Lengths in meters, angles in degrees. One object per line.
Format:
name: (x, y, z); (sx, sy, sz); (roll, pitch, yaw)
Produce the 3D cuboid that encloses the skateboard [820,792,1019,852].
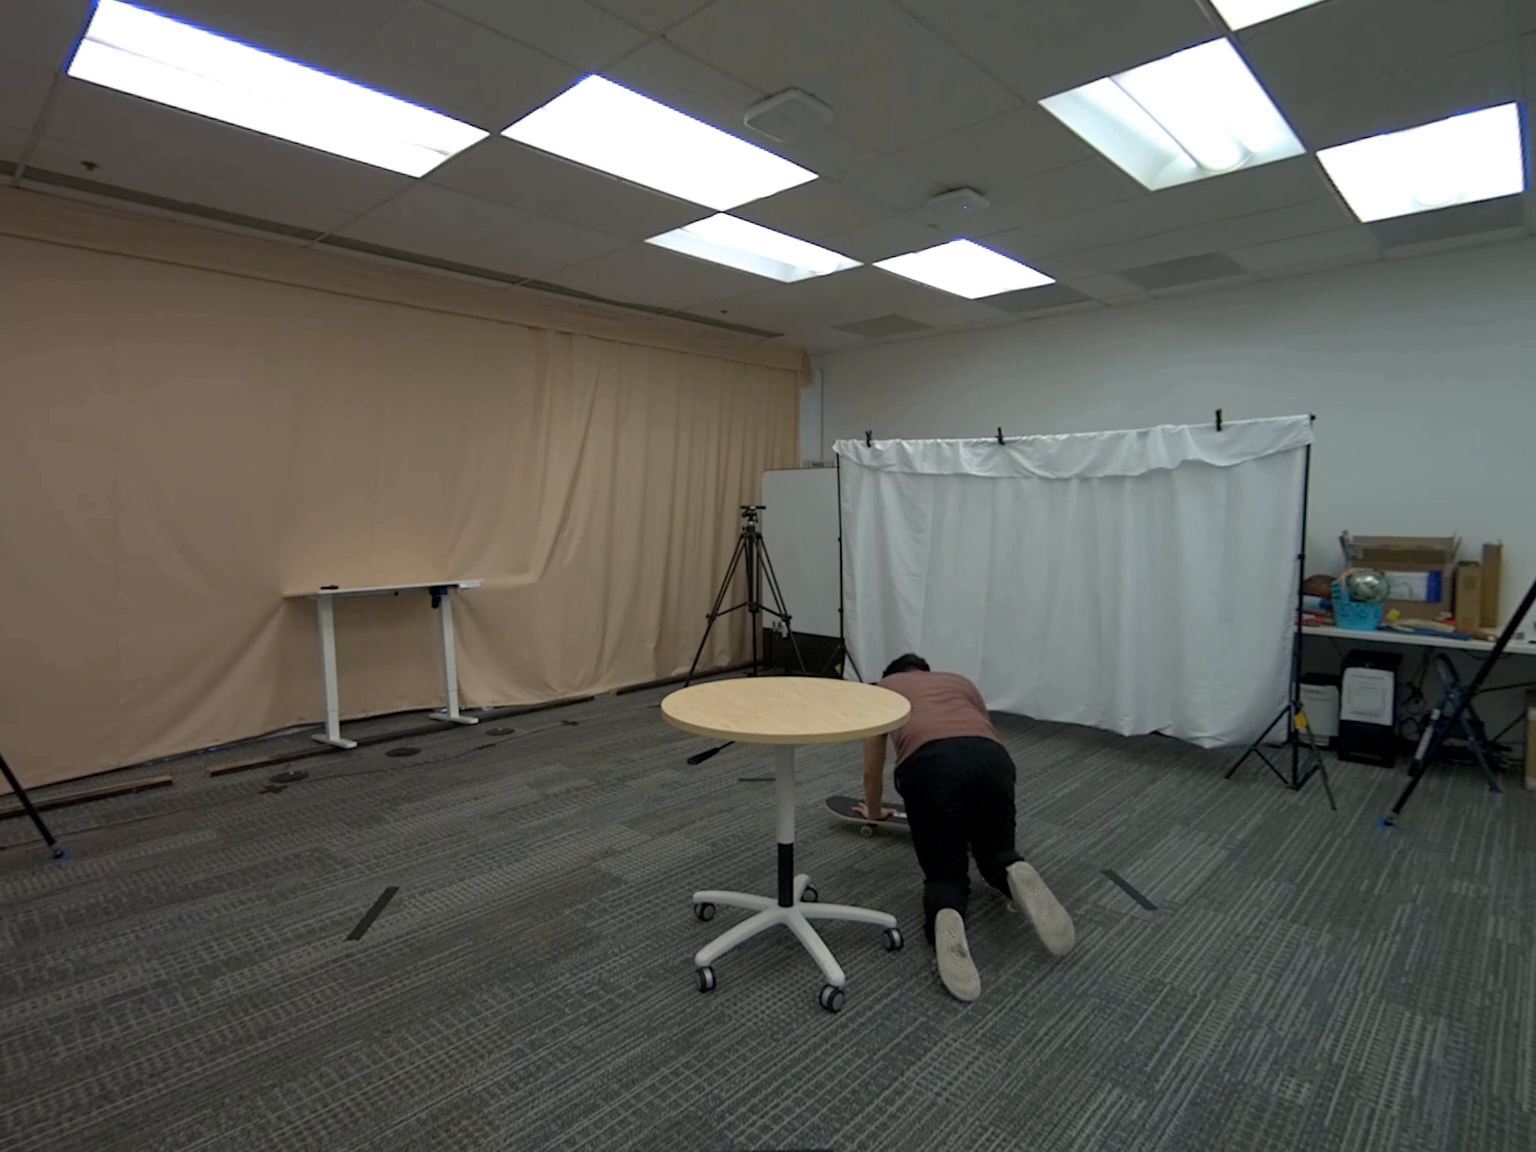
skateboard: (0.624, 1.041, 3.538); (0.802, 0.110, 0.190); (2, 7, 20)
